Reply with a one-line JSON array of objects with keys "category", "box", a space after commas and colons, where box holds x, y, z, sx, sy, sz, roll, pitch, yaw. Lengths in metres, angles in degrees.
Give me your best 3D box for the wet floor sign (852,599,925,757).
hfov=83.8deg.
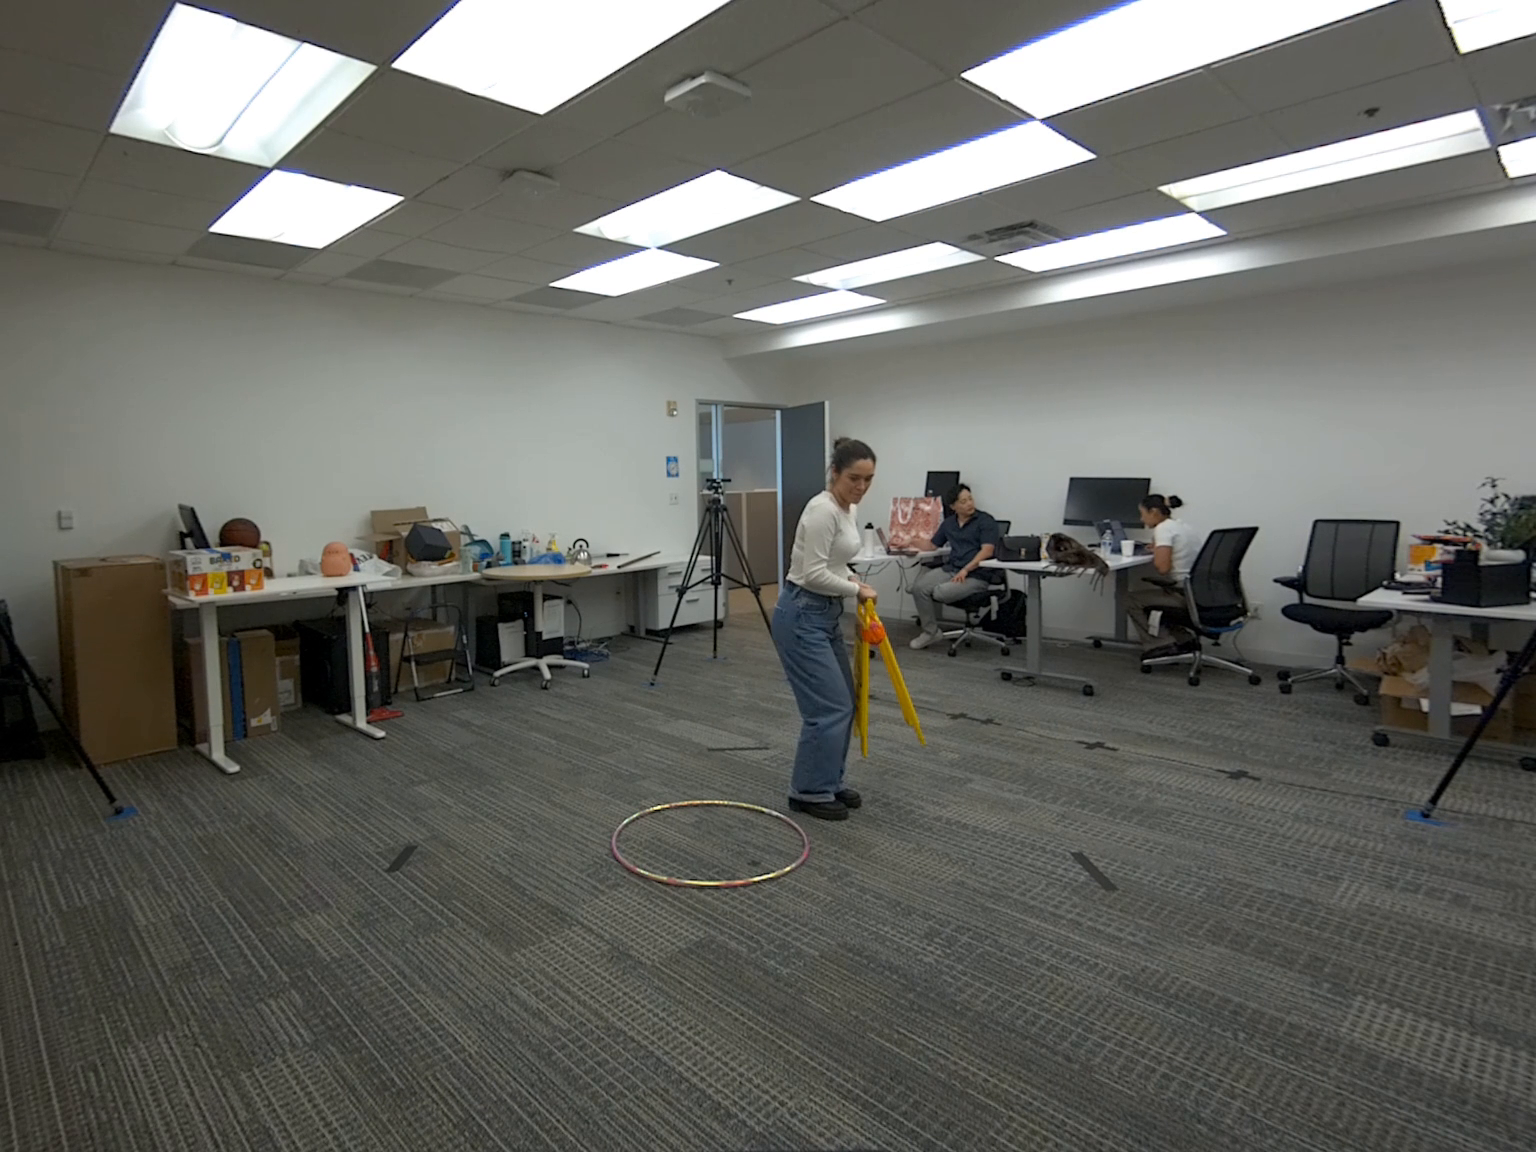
[{"category": "wet floor sign", "box": [0.460, 0.379, 3.561, 0.289, 0.638, 0.286, -11, 12, -3]}]
